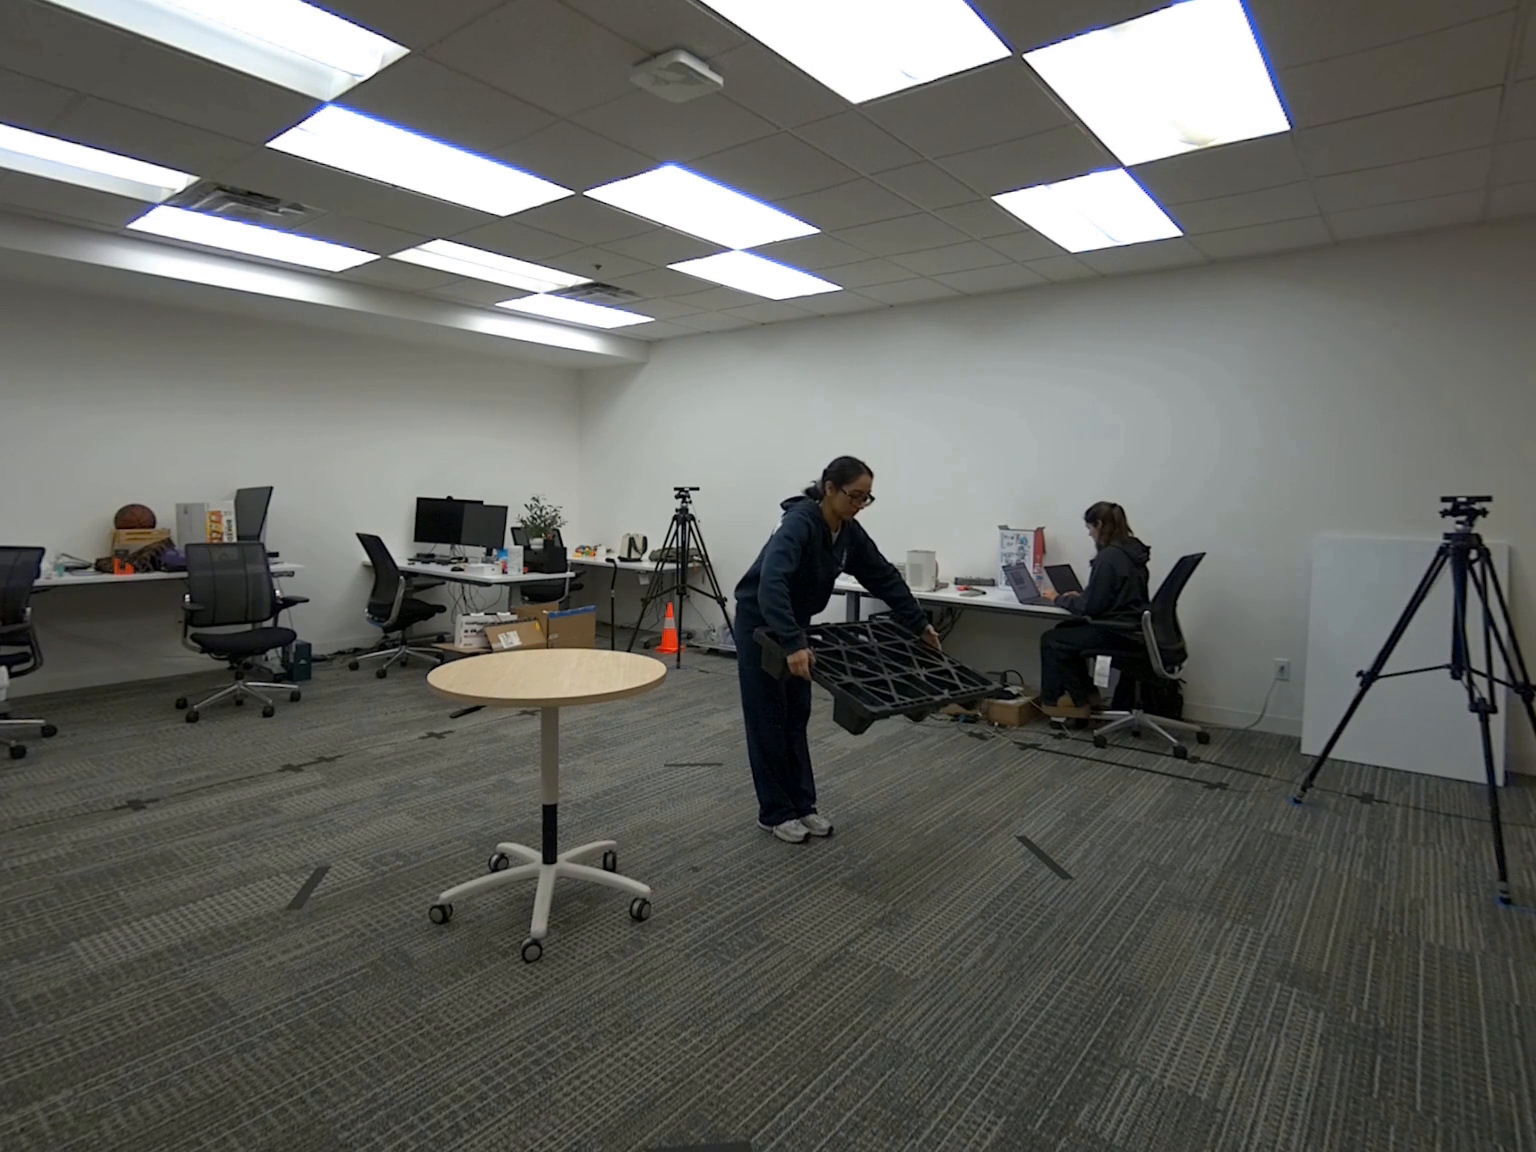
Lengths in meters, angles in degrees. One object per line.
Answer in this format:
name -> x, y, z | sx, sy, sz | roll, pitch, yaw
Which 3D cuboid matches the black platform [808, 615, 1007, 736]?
black platform -> 0.397, 0.357, 3.177 | 0.780, 0.142, 0.631 | 0, 22, -43
